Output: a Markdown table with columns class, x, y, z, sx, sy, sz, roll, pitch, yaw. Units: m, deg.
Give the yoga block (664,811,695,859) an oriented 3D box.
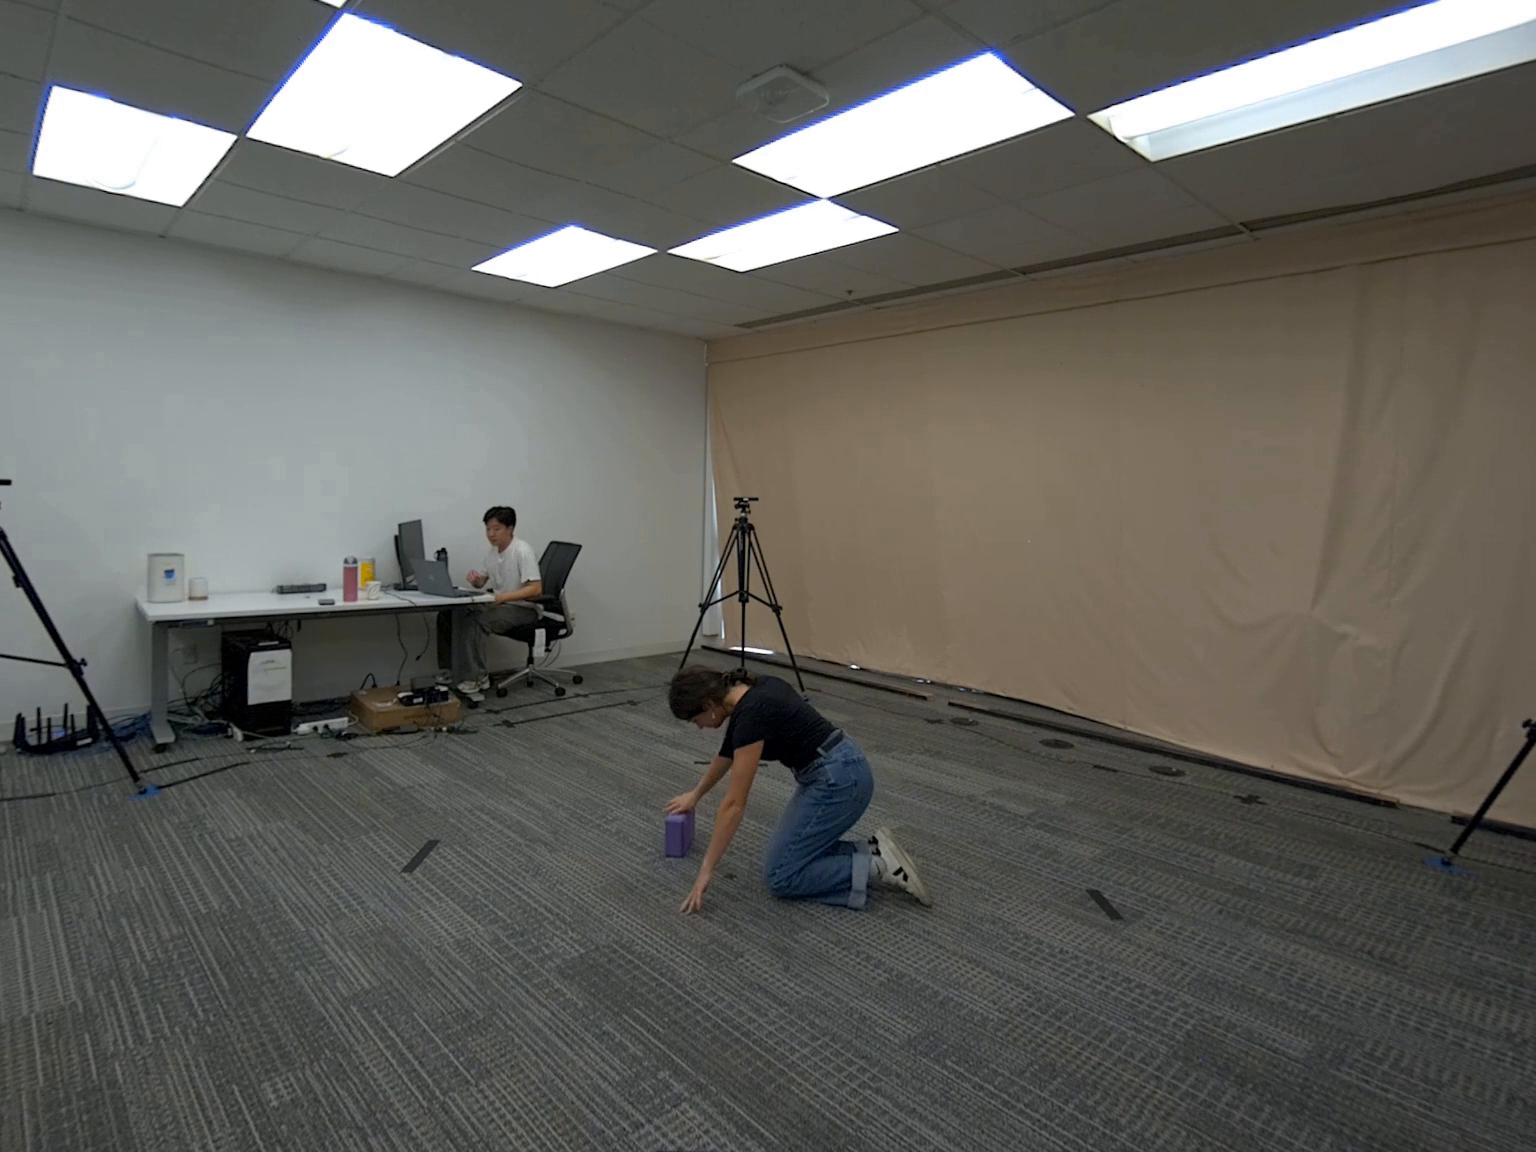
| class | x | y | z | sx | sy | sz | roll | pitch | yaw |
| --- | --- | --- | --- | --- | --- | --- | --- | --- | --- |
| yoga block | -0.356 | 1.005 | 3.355 | 0.077 | 0.148 | 0.229 | 1 | 8 | 8 |
